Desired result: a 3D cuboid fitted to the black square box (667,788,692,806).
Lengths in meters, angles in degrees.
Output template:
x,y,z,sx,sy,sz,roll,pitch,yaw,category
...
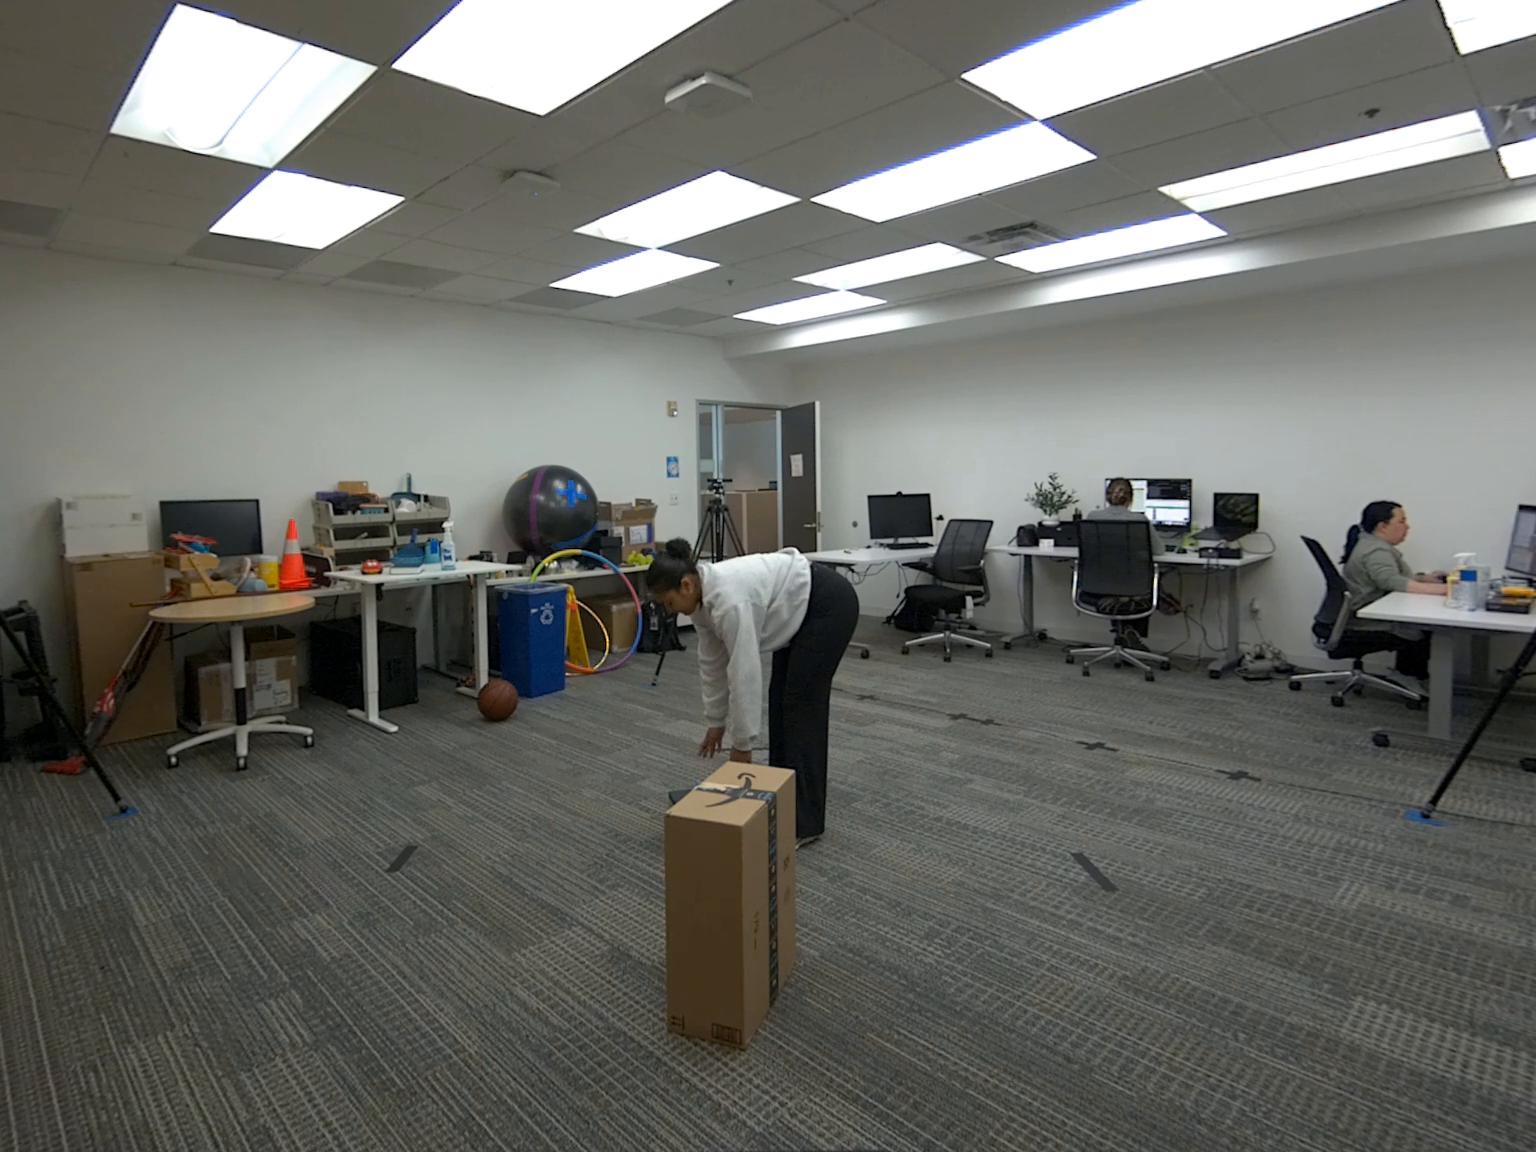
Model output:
x,y,z,sx,sy,sz,roll,pitch,yaw,category
-0.250,0.937,3.333,0.213,0.155,0.232,-3,6,-18,black square box
